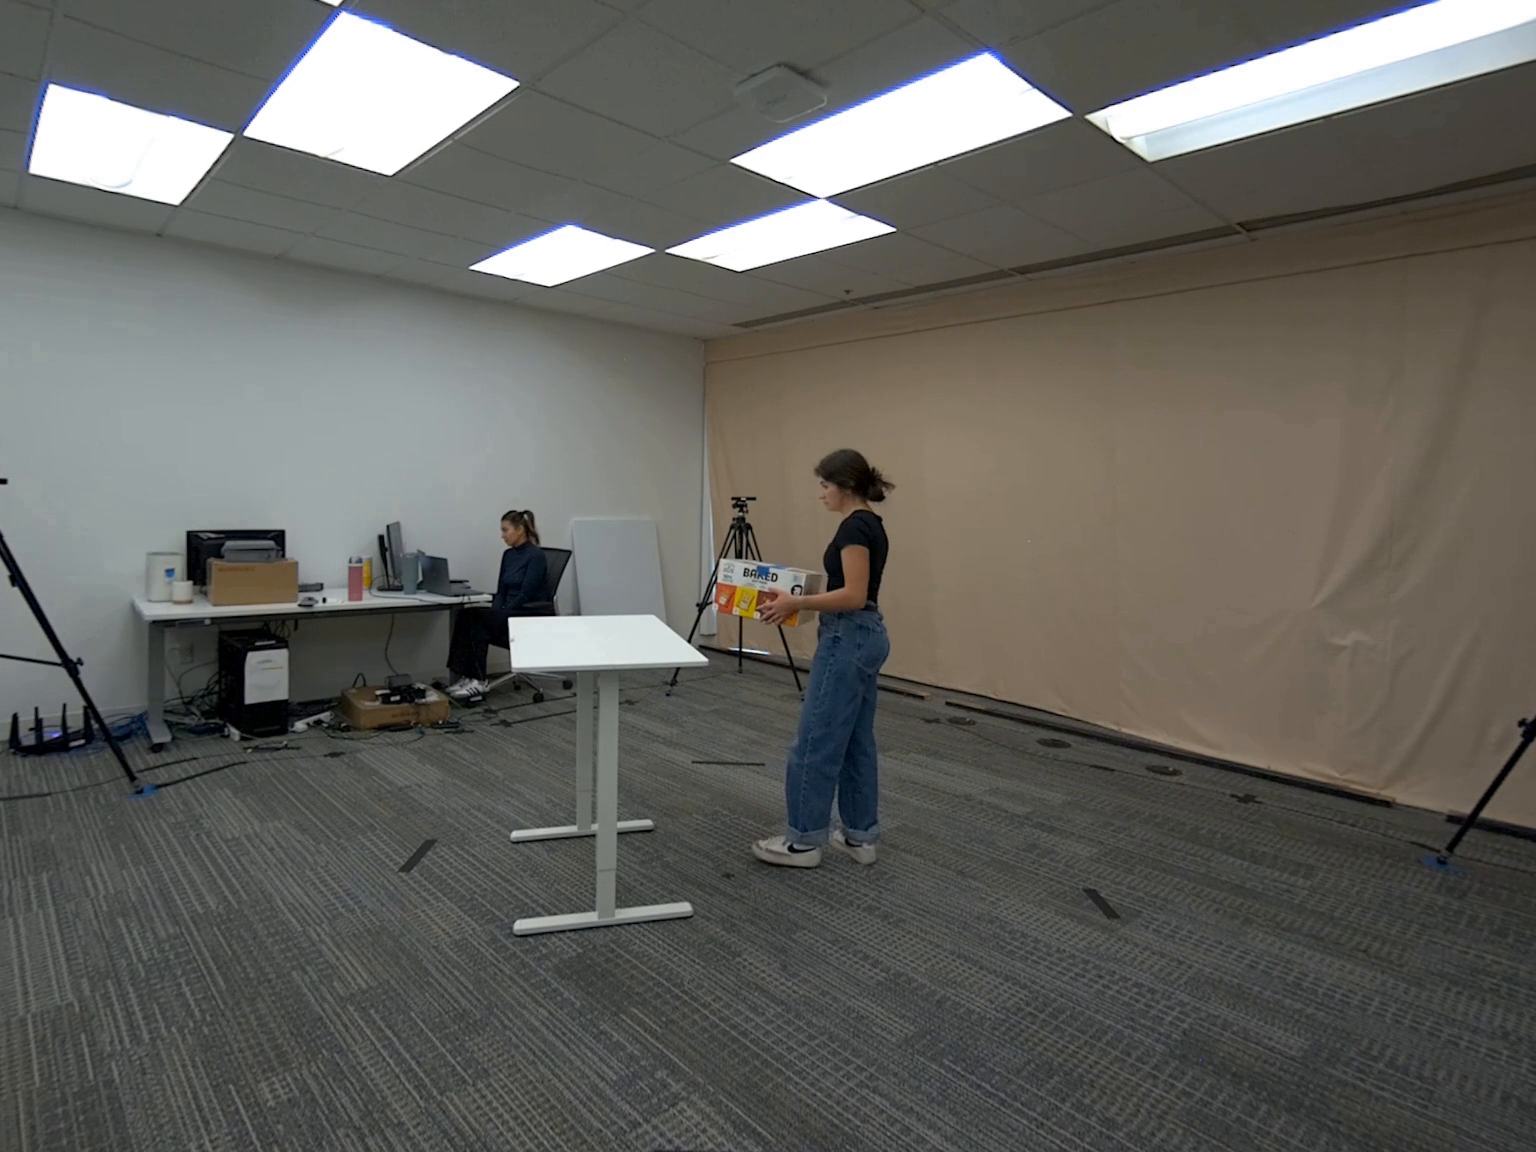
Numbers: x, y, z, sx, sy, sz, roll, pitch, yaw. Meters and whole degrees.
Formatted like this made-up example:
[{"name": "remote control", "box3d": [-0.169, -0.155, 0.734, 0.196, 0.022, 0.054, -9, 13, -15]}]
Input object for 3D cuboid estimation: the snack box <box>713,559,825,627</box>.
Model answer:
[{"name": "snack box", "box3d": [0.003, 0.061, 3.363, 0.345, 0.205, 0.400, 10, 2, 15]}]
